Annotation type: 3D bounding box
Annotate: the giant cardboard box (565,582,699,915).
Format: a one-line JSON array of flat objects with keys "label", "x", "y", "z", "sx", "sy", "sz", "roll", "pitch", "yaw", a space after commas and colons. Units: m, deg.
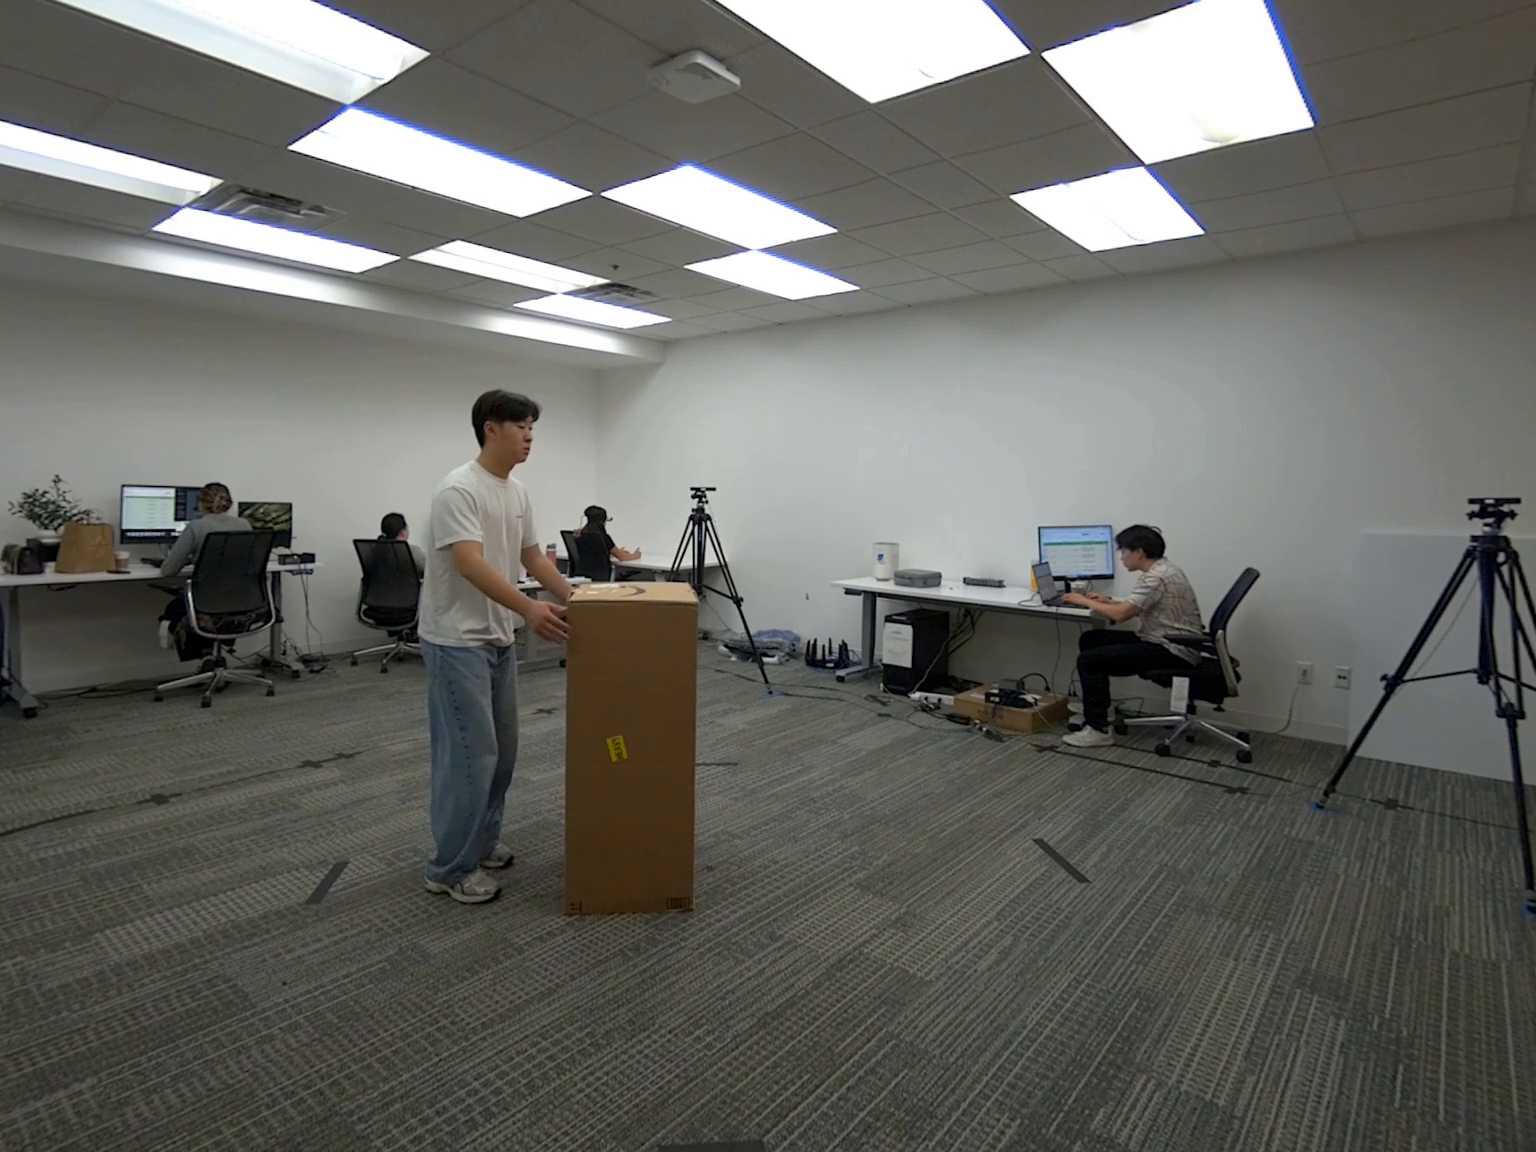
[{"label": "giant cardboard box", "x": -0.495, "y": 0.561, "z": 3.022, "sx": 0.423, "sy": 1.023, "sz": 0.583, "roll": 1, "pitch": 3, "yaw": -7}]
